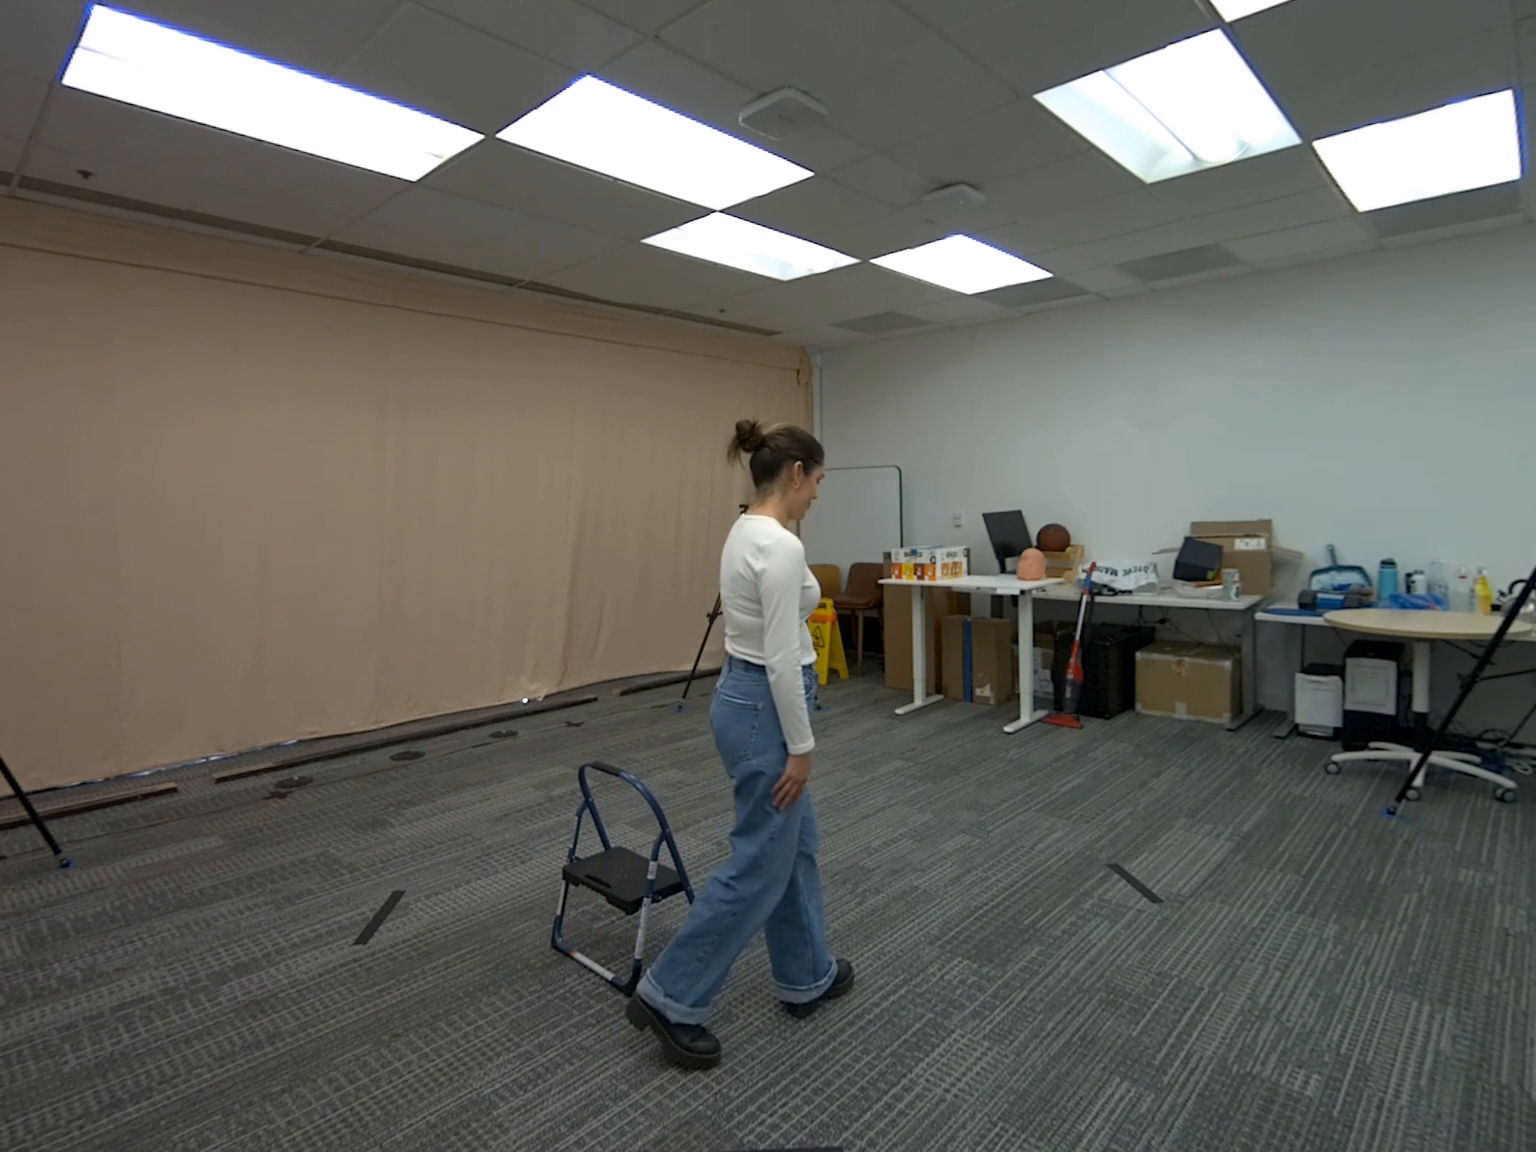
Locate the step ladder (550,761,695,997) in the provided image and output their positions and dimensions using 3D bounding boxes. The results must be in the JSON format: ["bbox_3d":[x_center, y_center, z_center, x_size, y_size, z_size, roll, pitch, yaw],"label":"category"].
[{"bbox_3d":[-0.431,0.876,2.637,0.445,0.605,0.339,2,4,43],"label":"step ladder"}]
